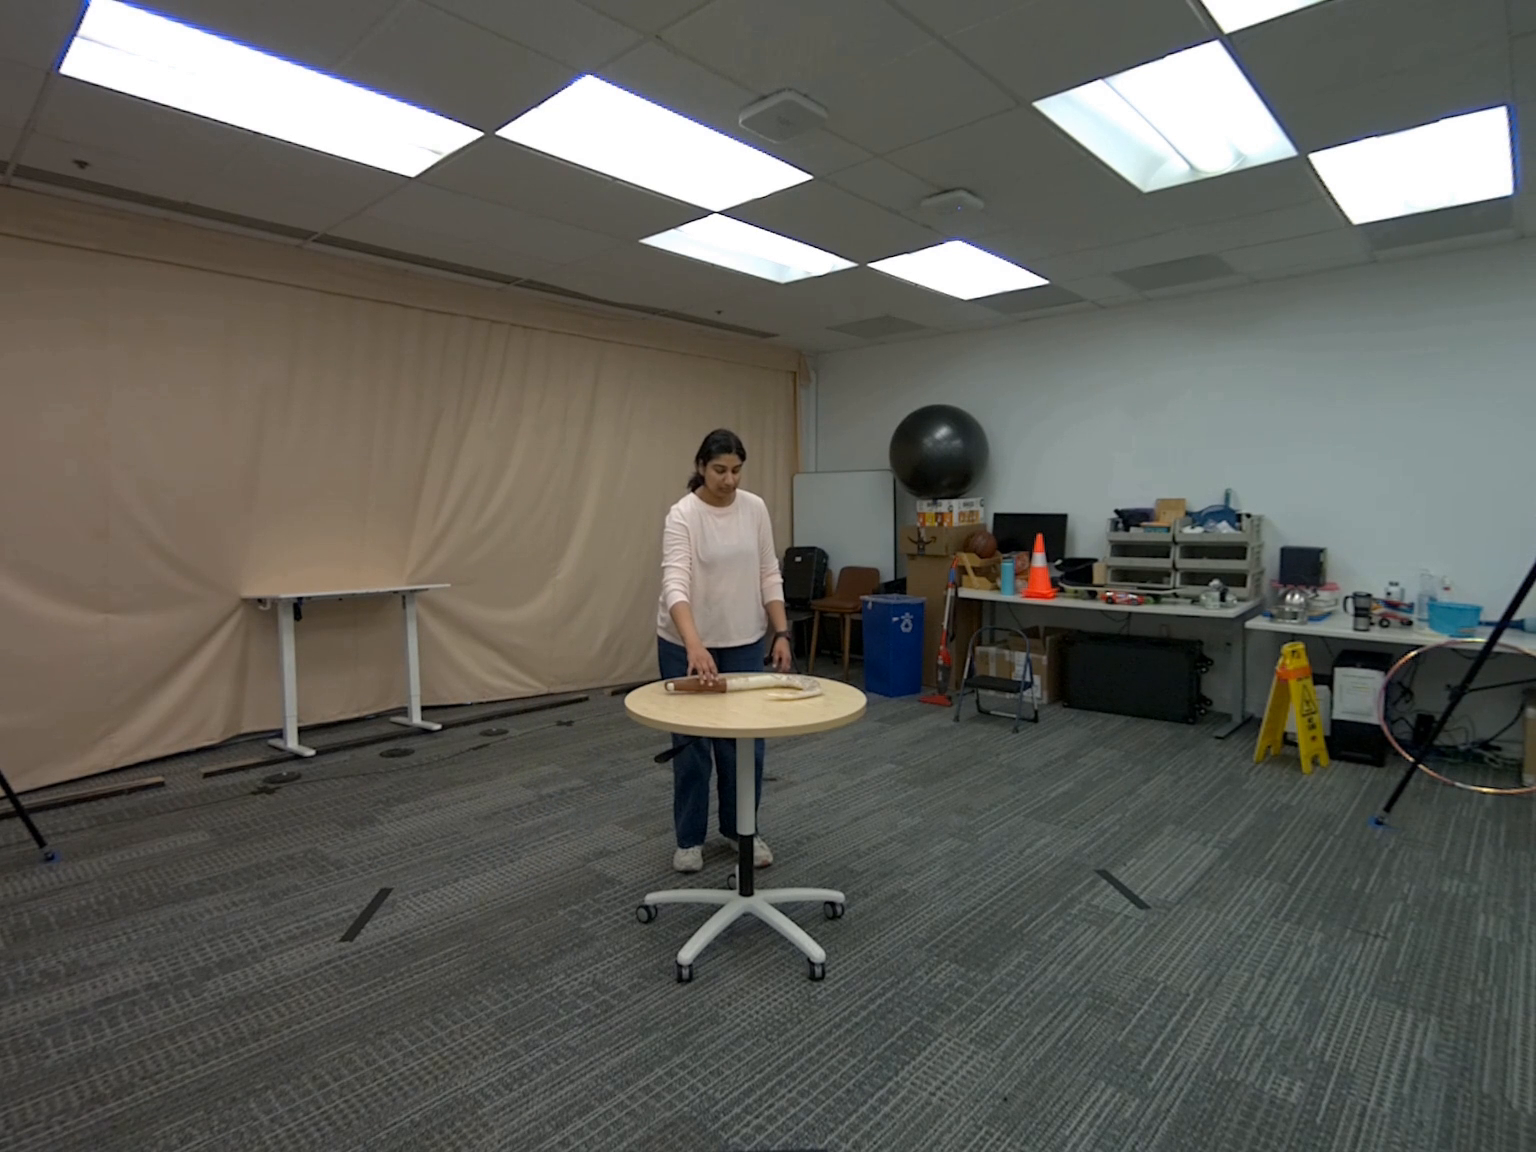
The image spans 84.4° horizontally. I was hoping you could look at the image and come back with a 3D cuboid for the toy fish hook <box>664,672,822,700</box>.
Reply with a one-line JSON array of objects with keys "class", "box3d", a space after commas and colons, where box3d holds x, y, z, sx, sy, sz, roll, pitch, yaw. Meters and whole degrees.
[{"class": "toy fish hook", "box3d": [-0.083, 0.363, 2.712, 0.502, 0.048, 0.227, -1, 4, -8]}]
